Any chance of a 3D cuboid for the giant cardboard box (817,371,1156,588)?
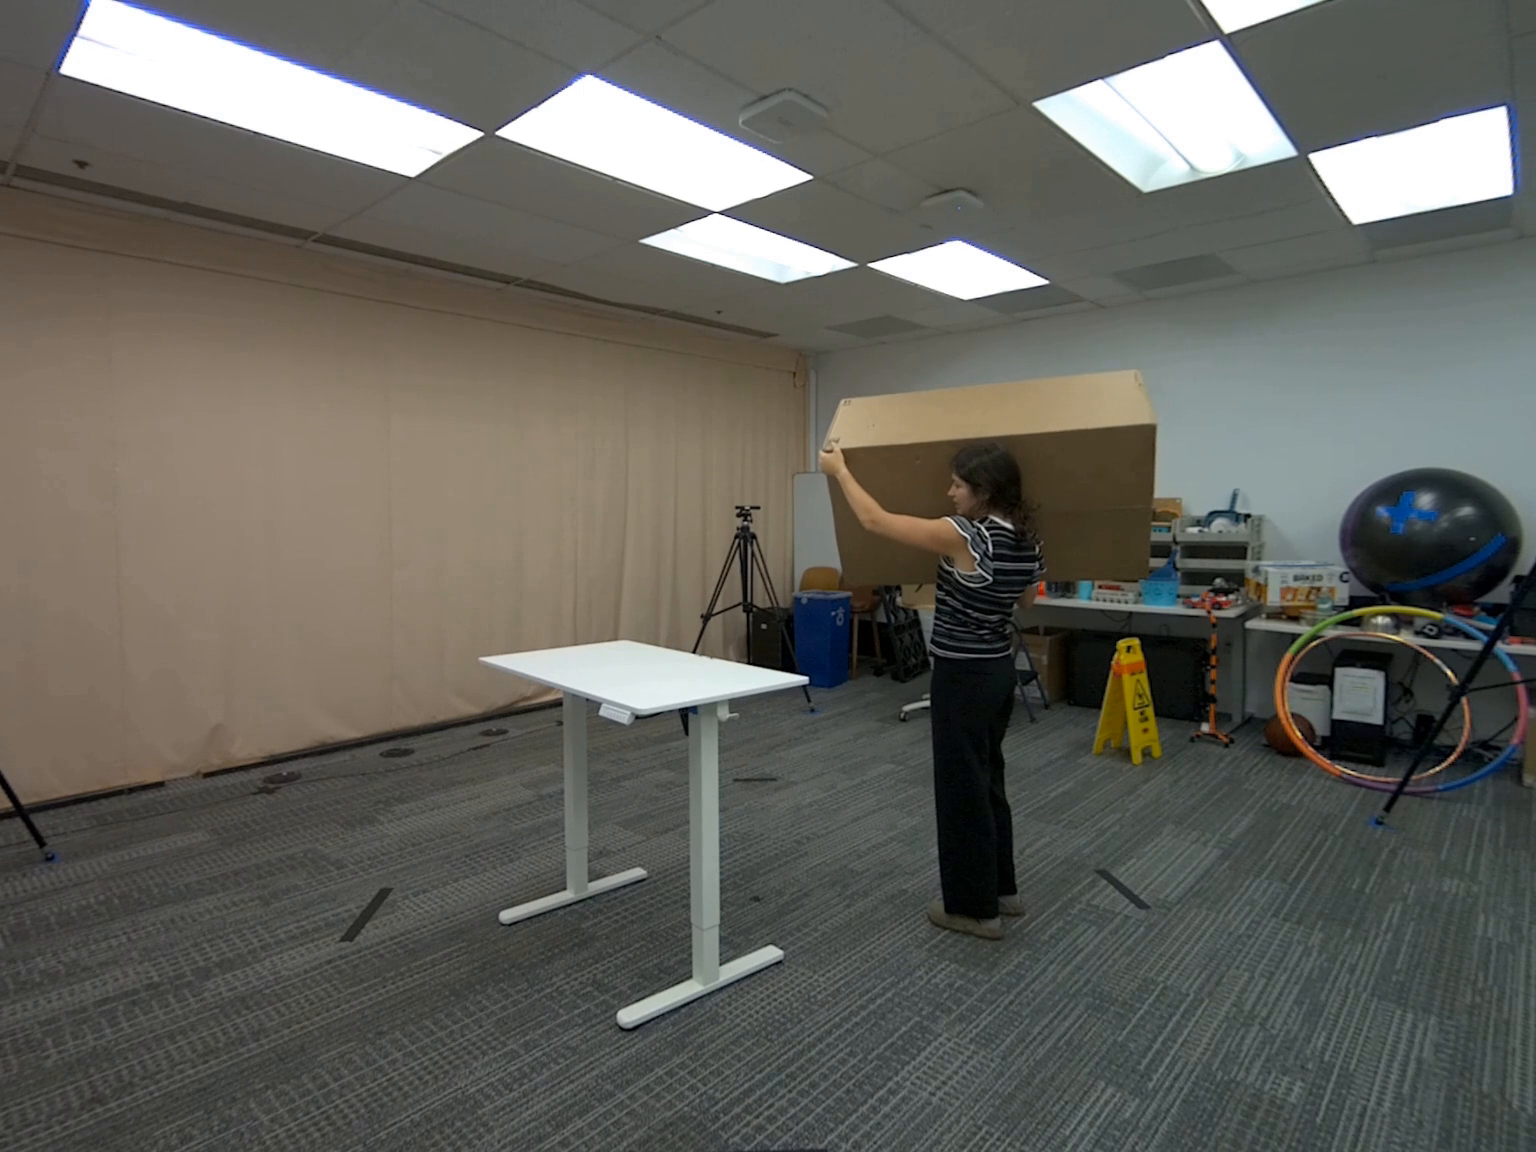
[{"bbox_3d":[0.772,-0.328,2.989,1.047,0.564,0.427,-2,33,20],"label":"giant cardboard box"}]
